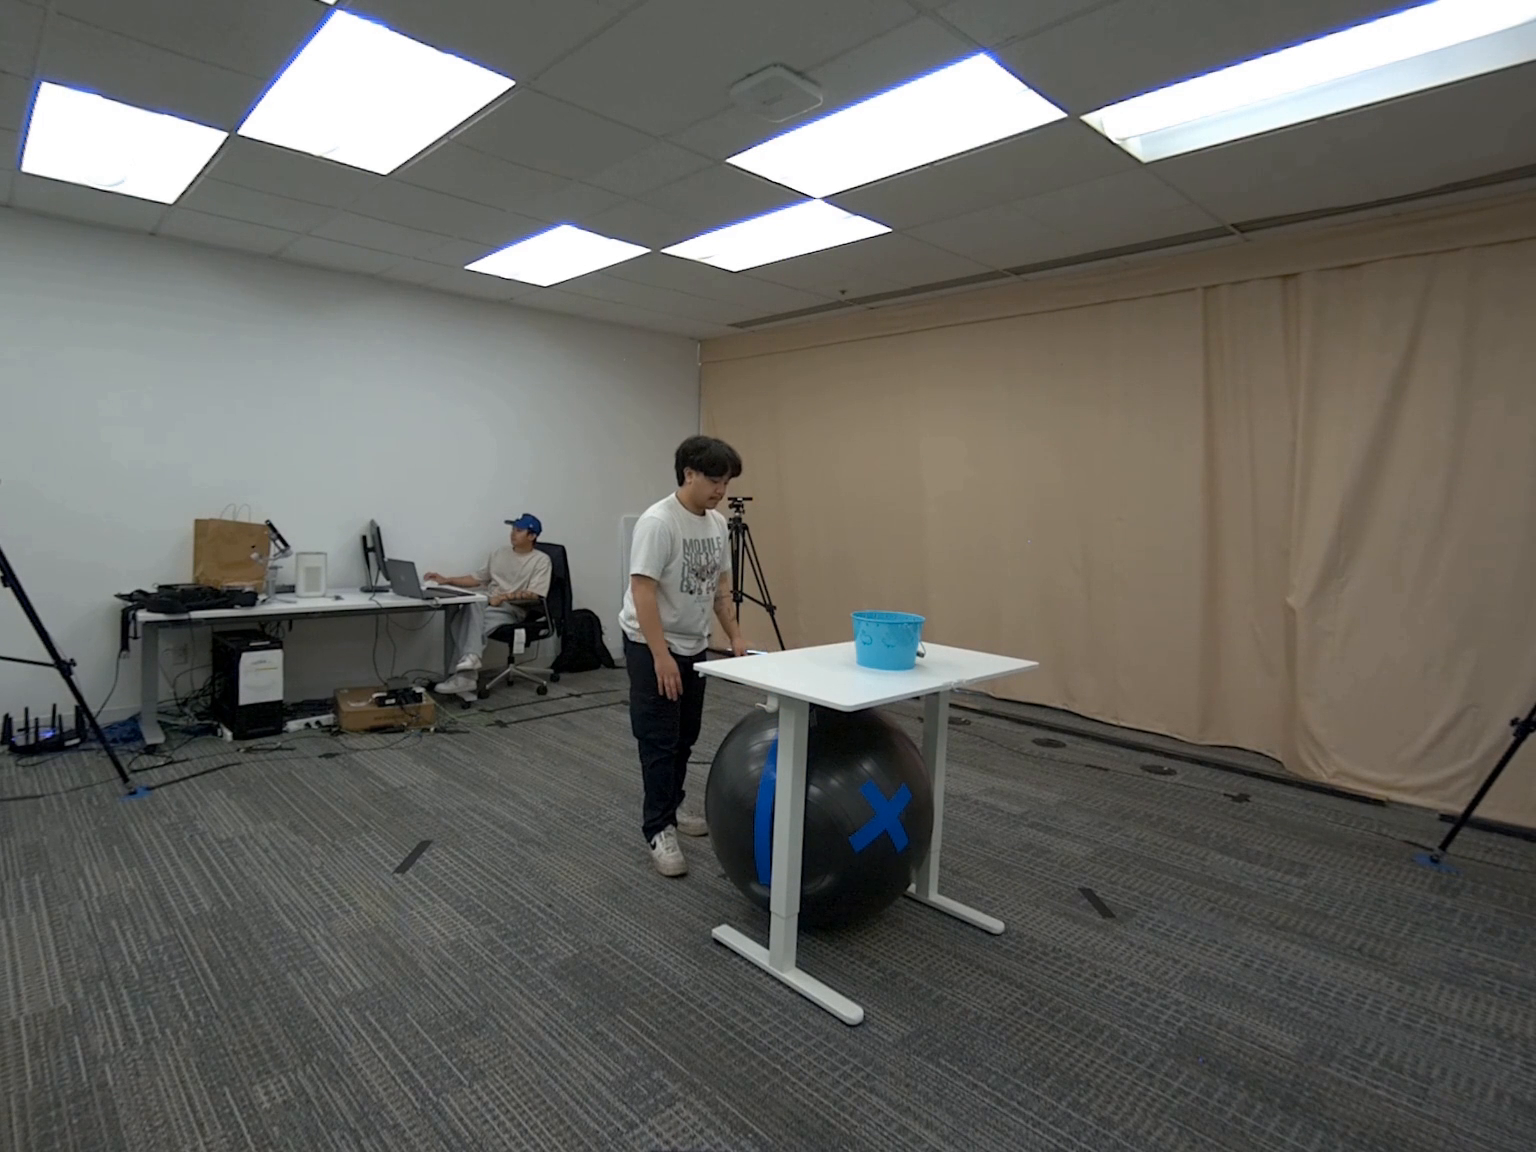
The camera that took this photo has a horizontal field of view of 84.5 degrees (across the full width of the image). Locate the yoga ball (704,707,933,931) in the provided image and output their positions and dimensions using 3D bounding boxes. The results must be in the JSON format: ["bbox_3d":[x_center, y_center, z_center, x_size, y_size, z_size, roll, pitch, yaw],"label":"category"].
[{"bbox_3d":[0.169,0.776,2.828,0.757,0.756,0.761,1,4,-1],"label":"yoga ball"}]
